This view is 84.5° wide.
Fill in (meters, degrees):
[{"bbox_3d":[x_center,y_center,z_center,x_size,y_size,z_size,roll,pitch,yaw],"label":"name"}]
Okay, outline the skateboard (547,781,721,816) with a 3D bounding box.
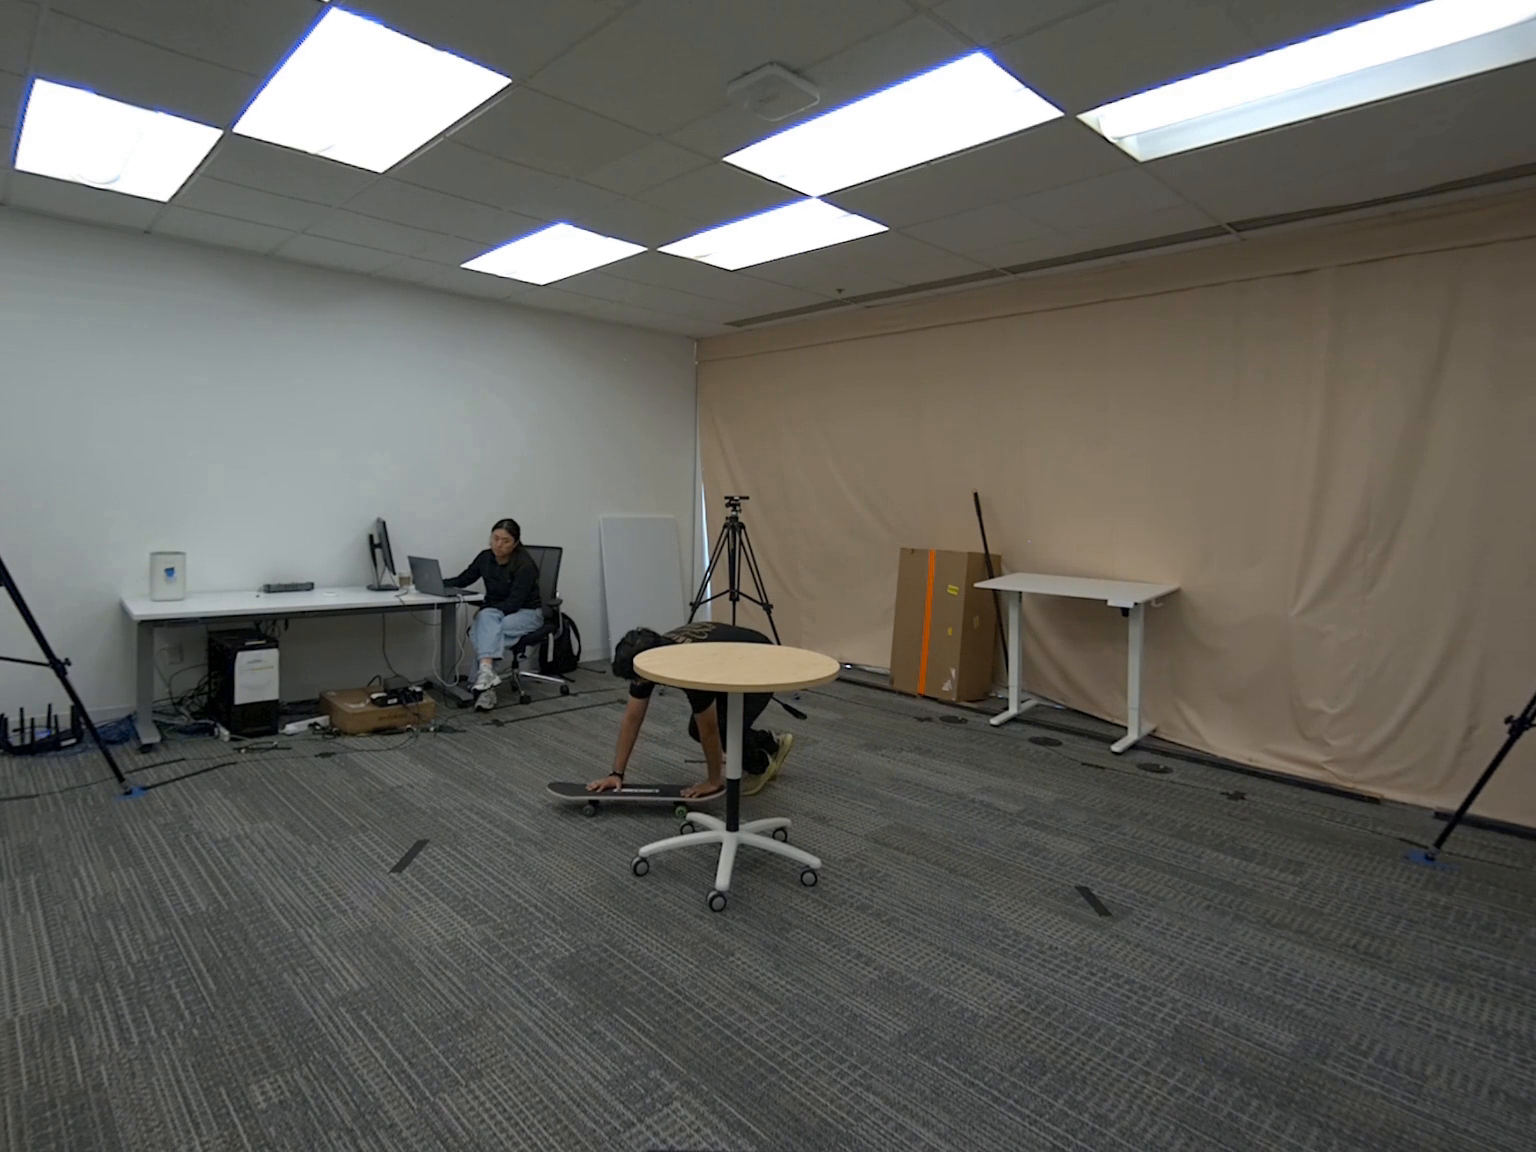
[{"bbox_3d":[-0.590,0.975,3.722,0.784,0.110,0.194,1,2,-2],"label":"skateboard"}]
